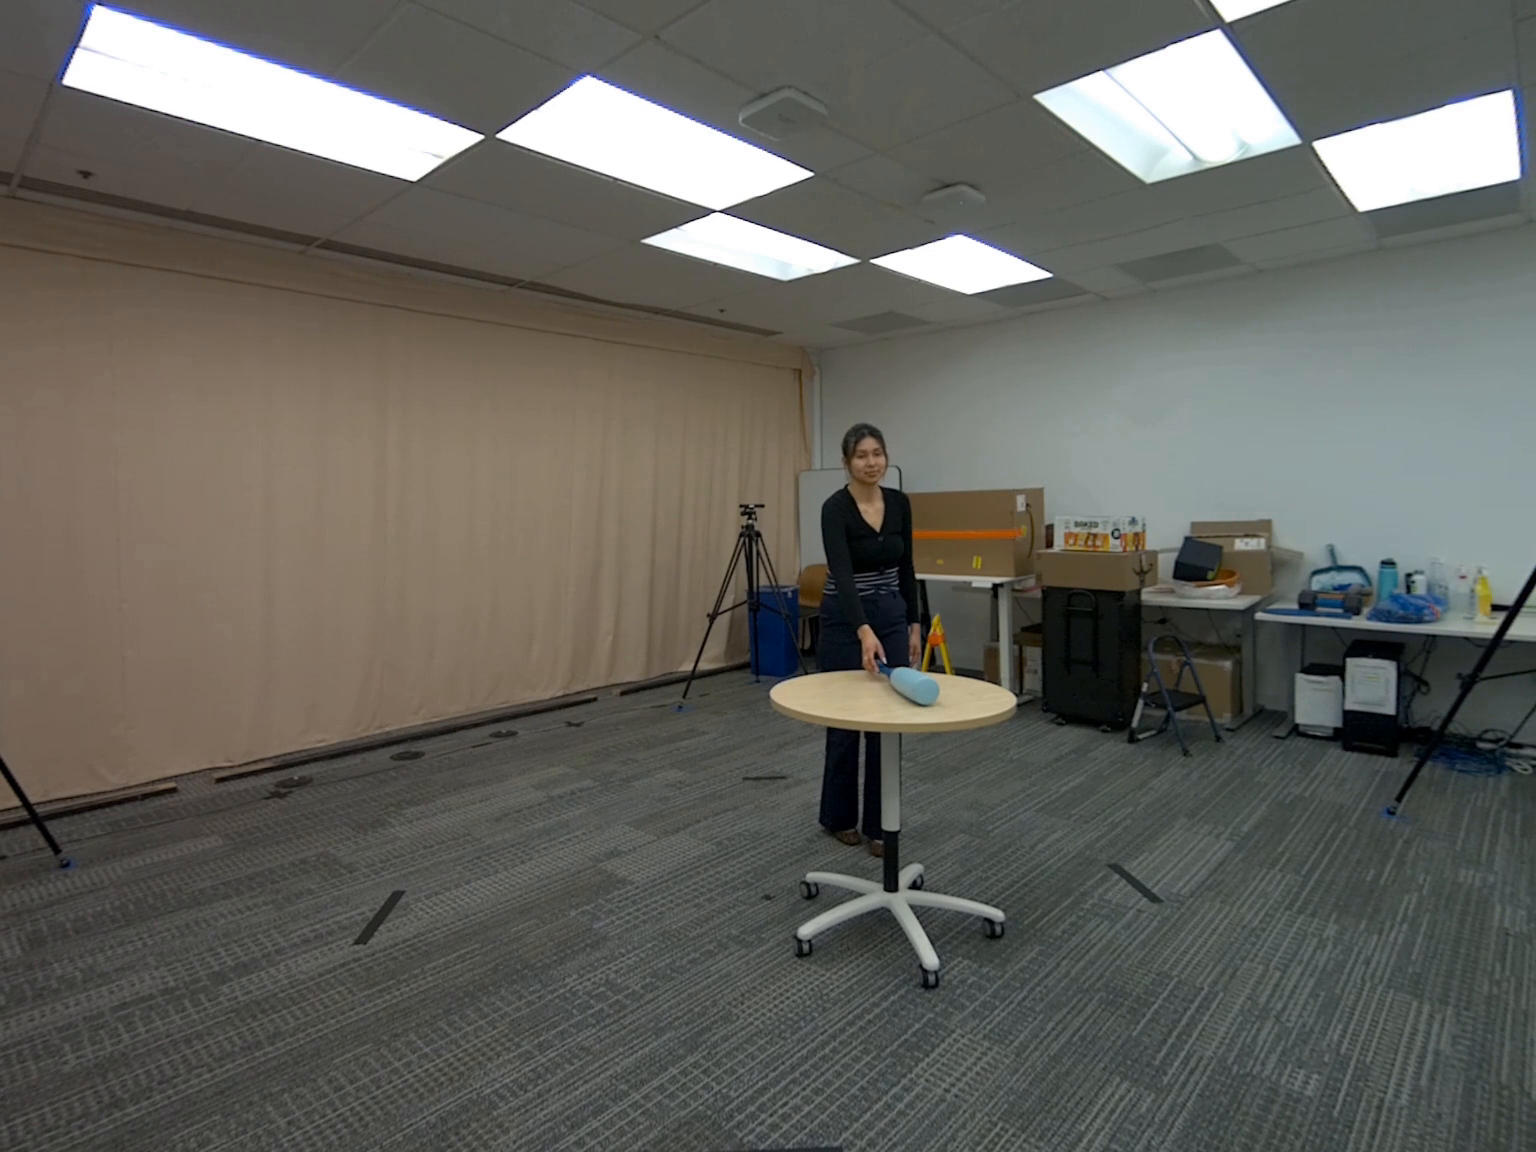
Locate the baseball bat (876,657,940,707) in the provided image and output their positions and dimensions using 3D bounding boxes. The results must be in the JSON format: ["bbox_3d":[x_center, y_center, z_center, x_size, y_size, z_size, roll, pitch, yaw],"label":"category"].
[{"bbox_3d":[0.425,0.330,2.752,0.088,0.089,0.548,-1,3,-9],"label":"baseball bat"}]
